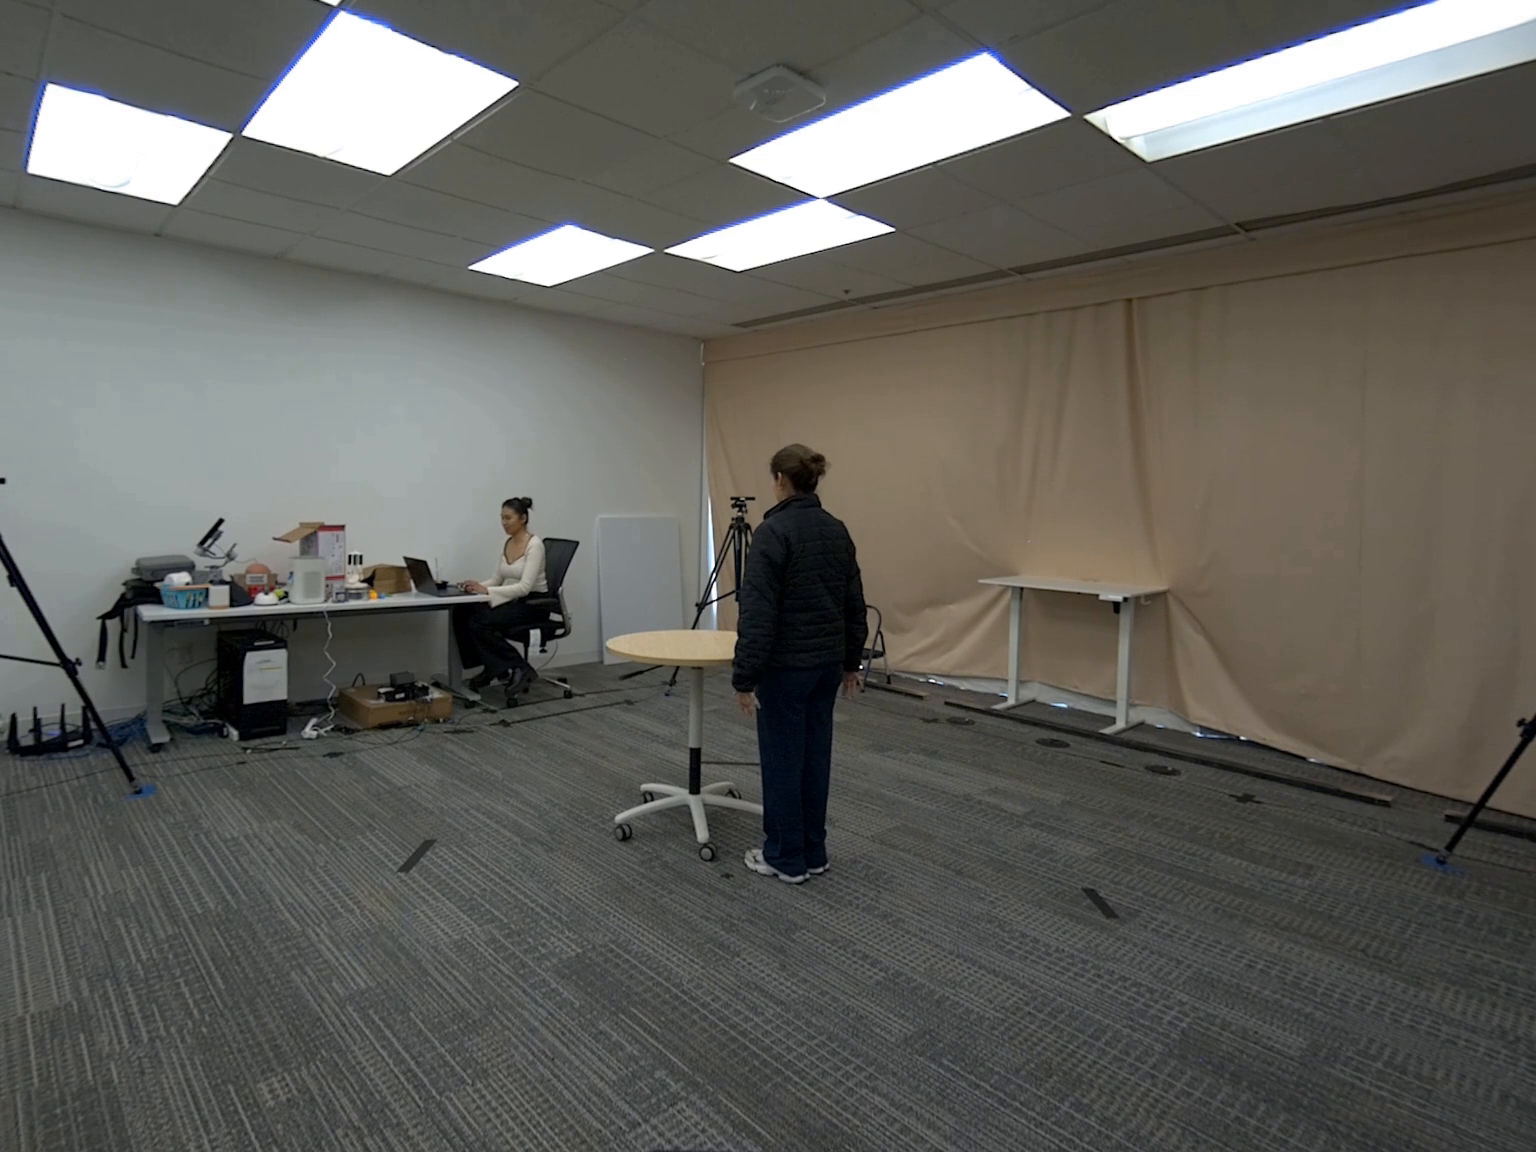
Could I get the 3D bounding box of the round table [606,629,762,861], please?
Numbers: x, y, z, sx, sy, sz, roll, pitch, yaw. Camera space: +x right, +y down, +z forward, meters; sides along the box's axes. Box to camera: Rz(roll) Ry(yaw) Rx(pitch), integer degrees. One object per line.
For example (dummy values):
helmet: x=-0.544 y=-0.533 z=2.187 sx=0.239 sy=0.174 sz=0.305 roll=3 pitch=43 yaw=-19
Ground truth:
round table: x=-0.304 y=0.674 z=3.543 sx=0.784 sy=0.785 sz=0.787 roll=1 pitch=3 yaw=-1
